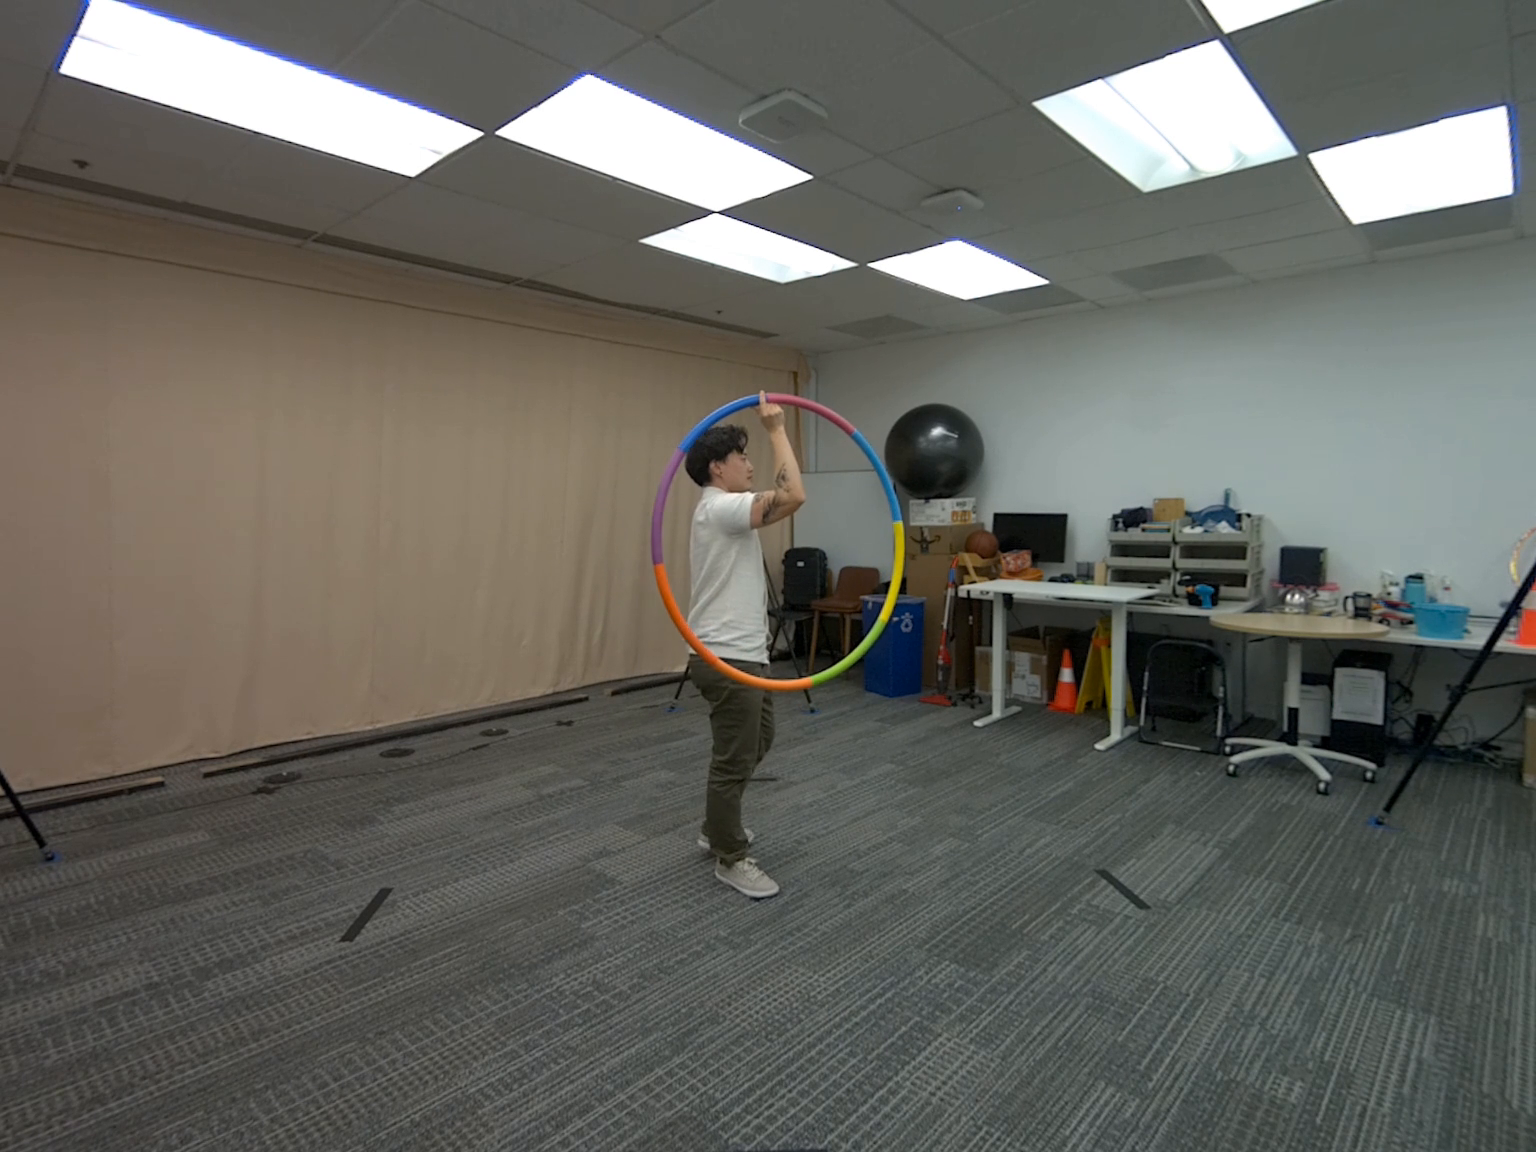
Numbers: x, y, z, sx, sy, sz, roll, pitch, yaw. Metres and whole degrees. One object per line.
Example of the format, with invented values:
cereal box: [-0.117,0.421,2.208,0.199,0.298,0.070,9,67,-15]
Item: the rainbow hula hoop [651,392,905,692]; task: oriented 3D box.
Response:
rainbow hula hoop: [0.064,-0.119,2.829,0.954,0.980,0.036,-2,-2,-27]
